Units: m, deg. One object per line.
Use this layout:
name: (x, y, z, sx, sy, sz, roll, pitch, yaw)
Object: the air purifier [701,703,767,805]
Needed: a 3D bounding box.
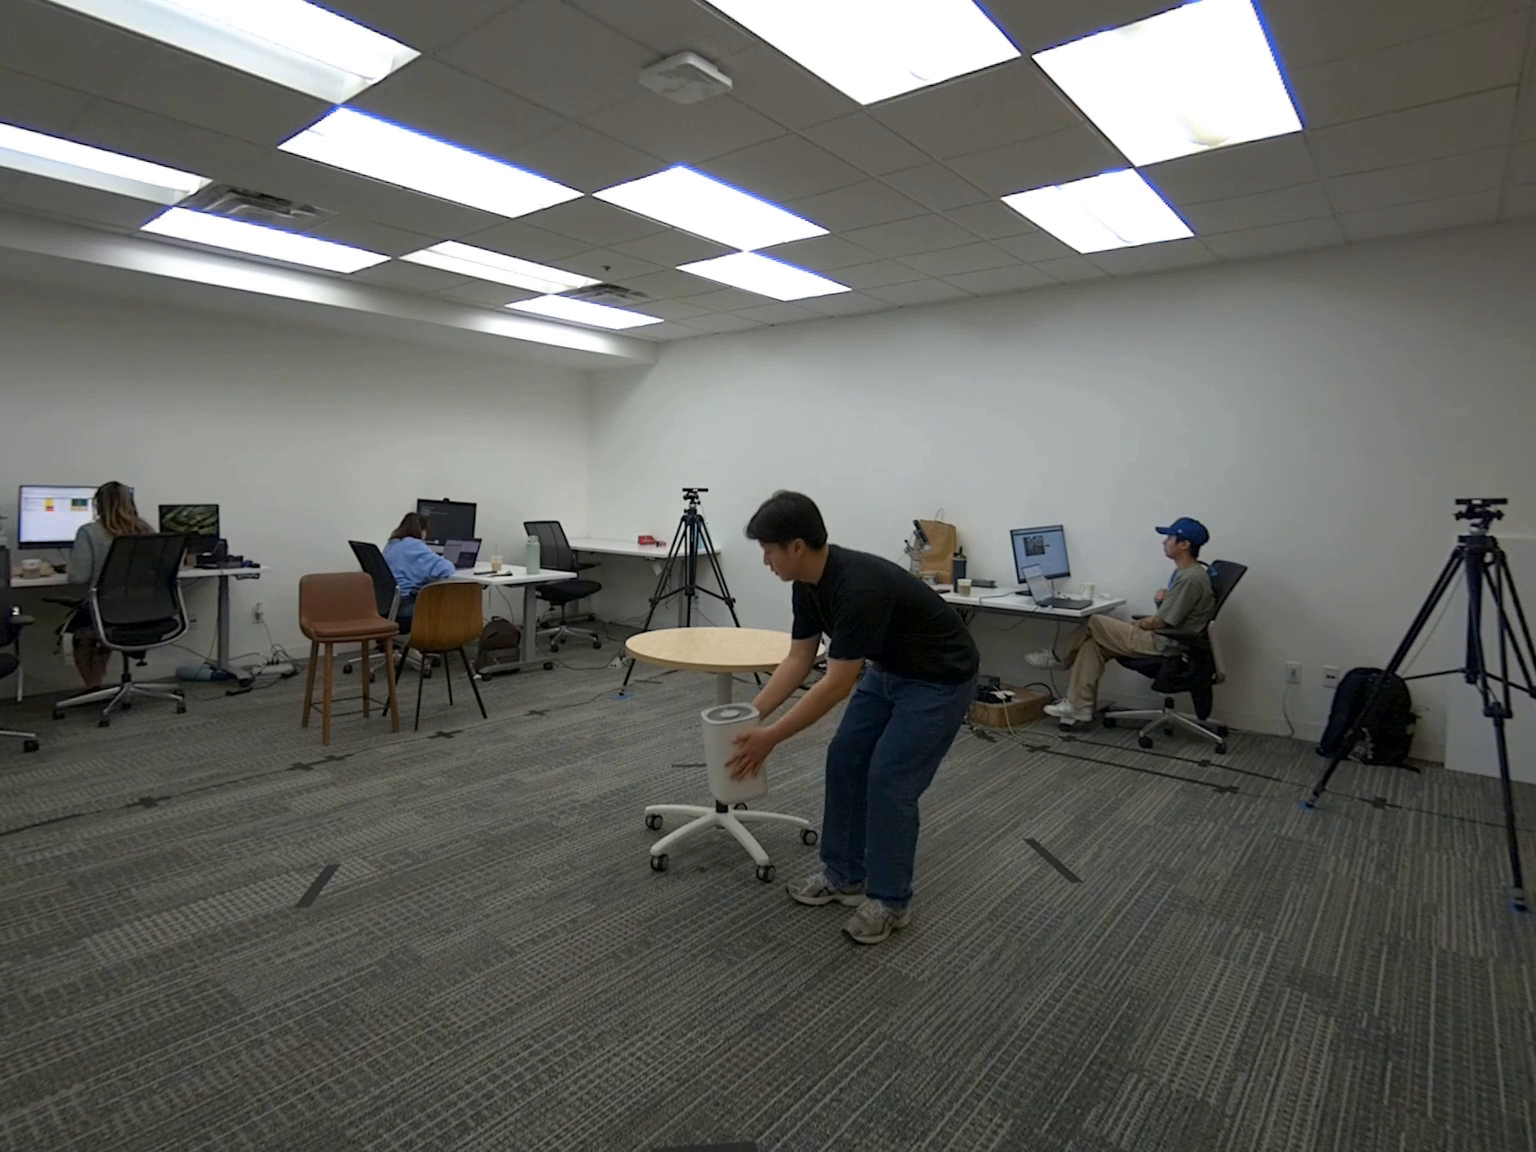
air purifier: (-0.111, 0.549, 2.663, 0.169, 0.263, 0.175, -8, 7, -15)
